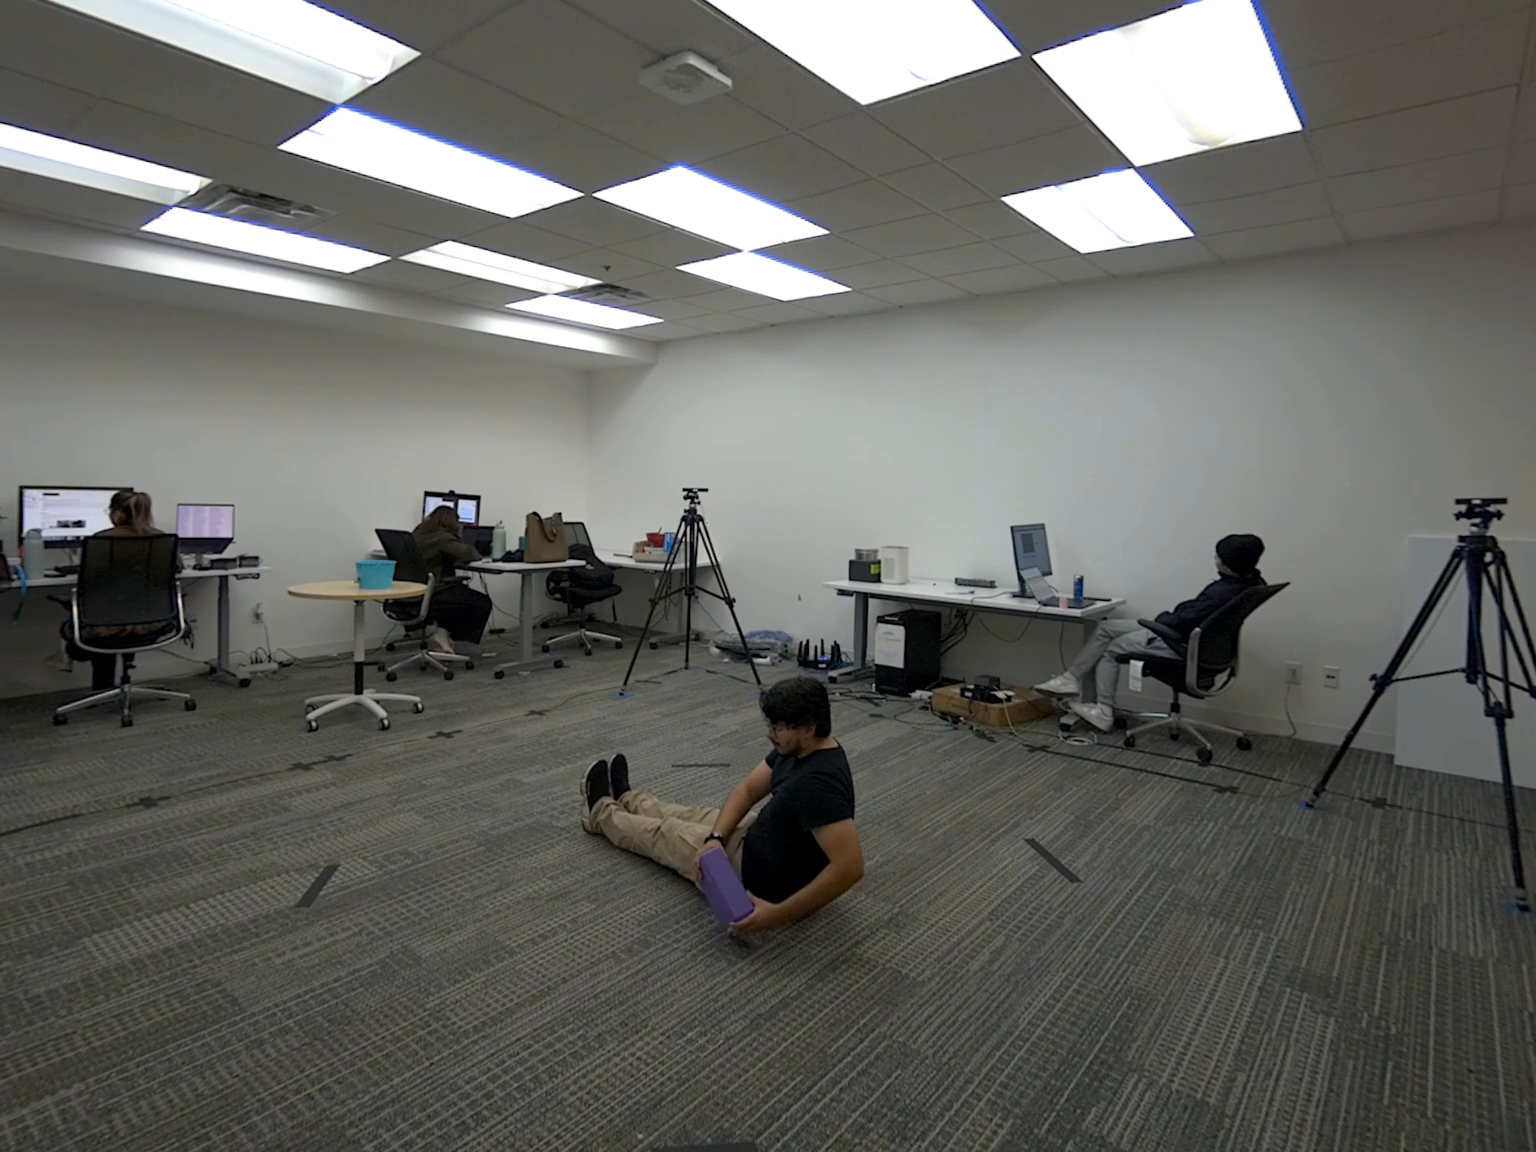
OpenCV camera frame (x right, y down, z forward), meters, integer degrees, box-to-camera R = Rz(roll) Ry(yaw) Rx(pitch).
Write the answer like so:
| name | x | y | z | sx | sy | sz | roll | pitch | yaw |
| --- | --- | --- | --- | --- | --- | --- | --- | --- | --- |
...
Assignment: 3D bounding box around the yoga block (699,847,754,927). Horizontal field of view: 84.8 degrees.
| name | x | y | z | sx | sy | sz | roll | pitch | yaw |
| --- | --- | --- | --- | --- | --- | --- | --- | --- | --- |
| yoga block | -0.137 | 0.982 | 2.637 | 0.075 | 0.145 | 0.239 | -9 | 44 | -22 |
